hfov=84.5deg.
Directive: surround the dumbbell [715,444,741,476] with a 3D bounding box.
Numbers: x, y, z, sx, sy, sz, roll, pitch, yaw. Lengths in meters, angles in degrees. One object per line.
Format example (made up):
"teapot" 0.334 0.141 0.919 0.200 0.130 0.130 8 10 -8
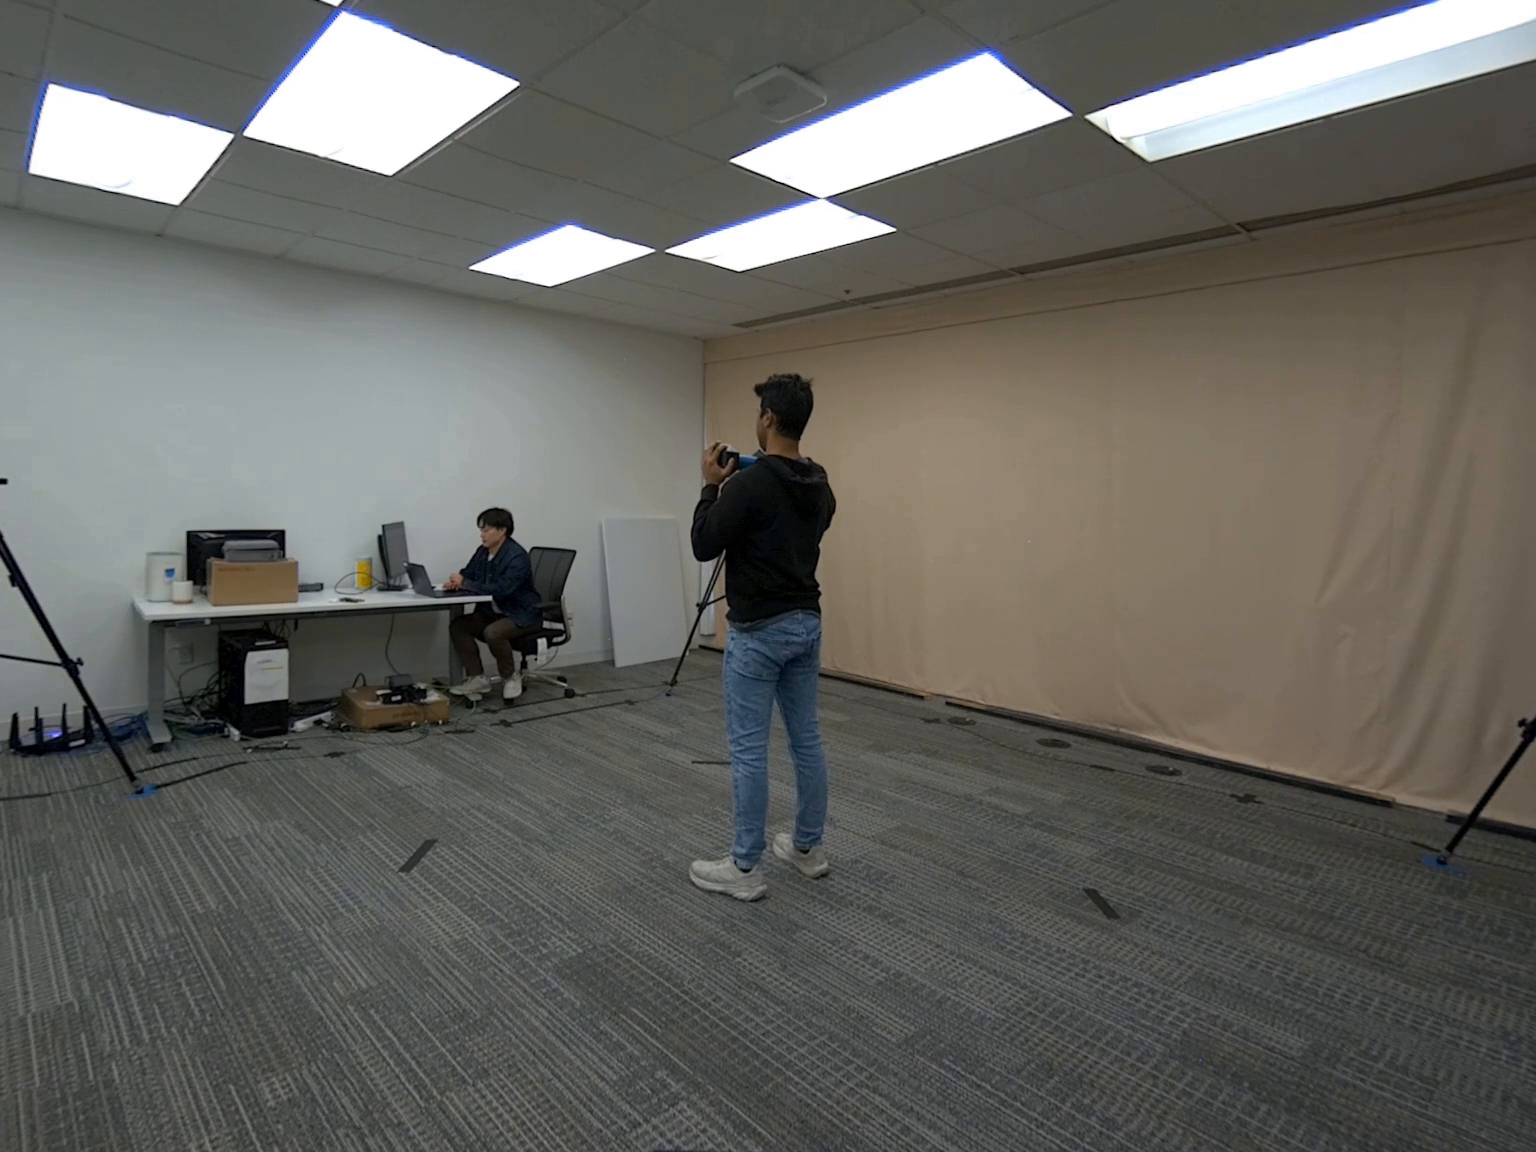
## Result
"dumbbell" -0.087 -0.416 3.142 0.286 0.122 0.111 0 7 -43
